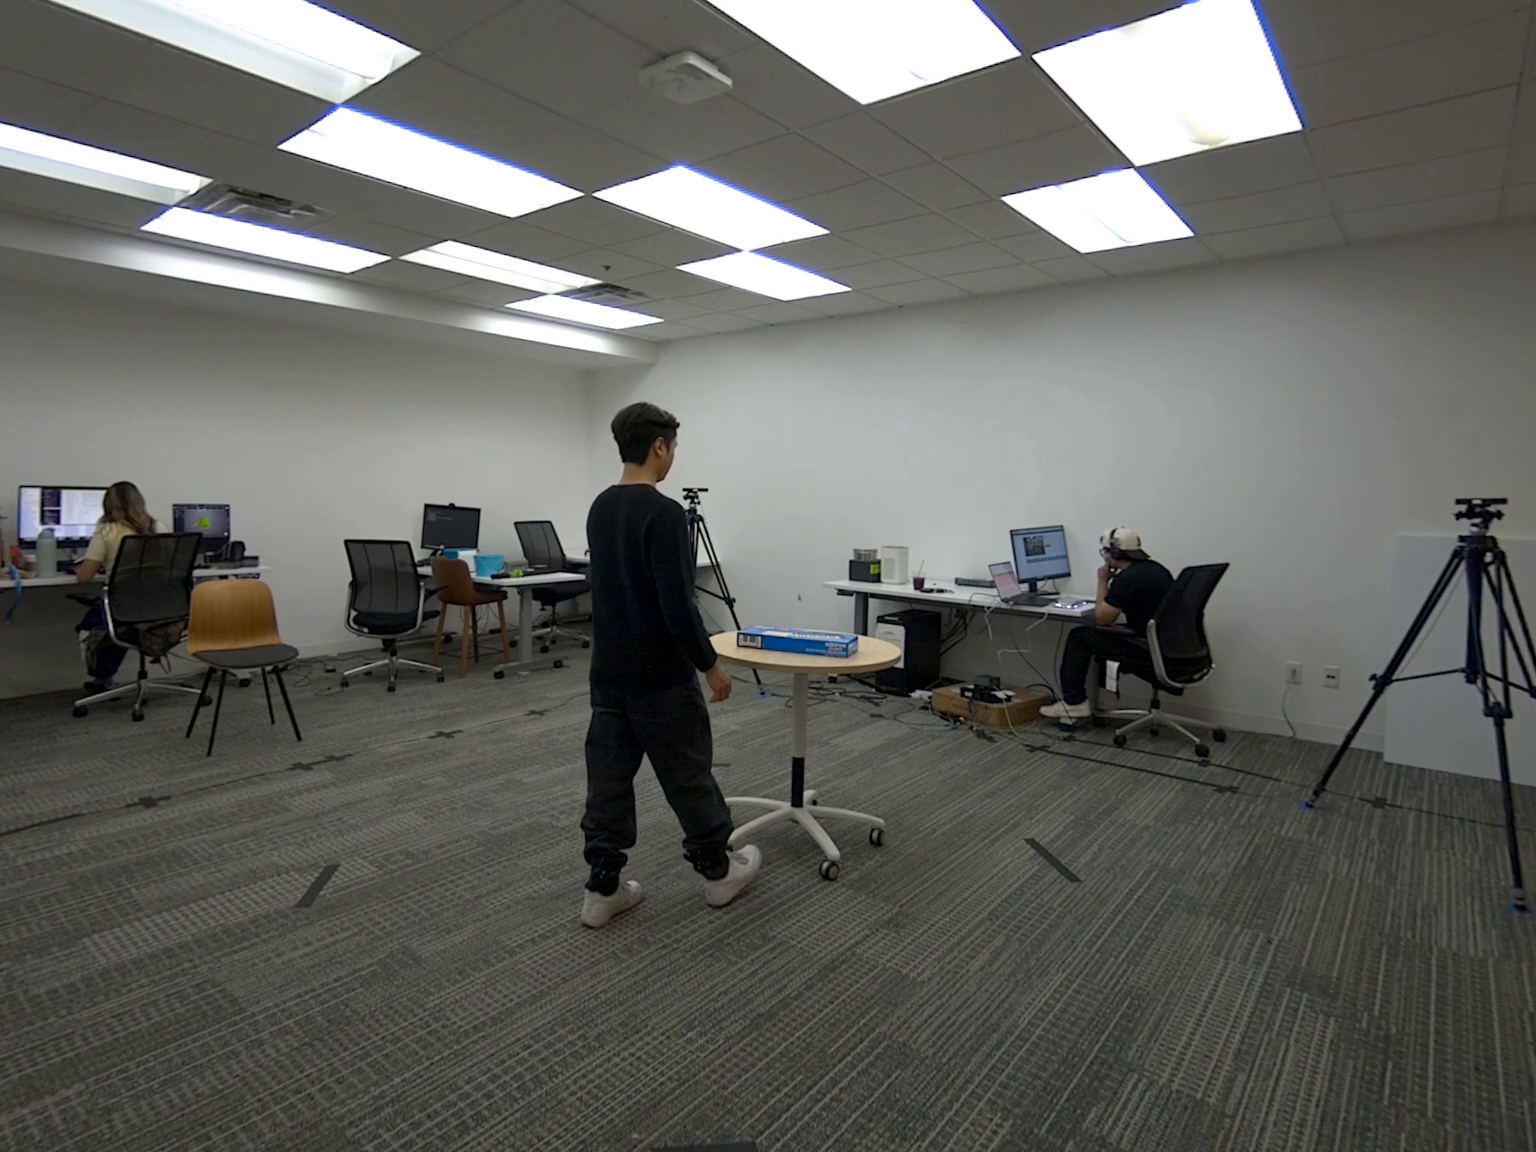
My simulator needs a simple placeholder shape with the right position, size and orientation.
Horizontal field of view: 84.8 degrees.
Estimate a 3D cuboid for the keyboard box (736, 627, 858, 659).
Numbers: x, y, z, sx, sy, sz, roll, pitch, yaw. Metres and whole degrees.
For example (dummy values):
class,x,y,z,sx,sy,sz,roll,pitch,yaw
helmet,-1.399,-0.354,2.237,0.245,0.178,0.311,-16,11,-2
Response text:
class,x,y,z,sx,sy,sz,roll,pitch,yaw
keyboard box,0.105,0.247,3.276,0.446,0.059,0.173,3,6,20
